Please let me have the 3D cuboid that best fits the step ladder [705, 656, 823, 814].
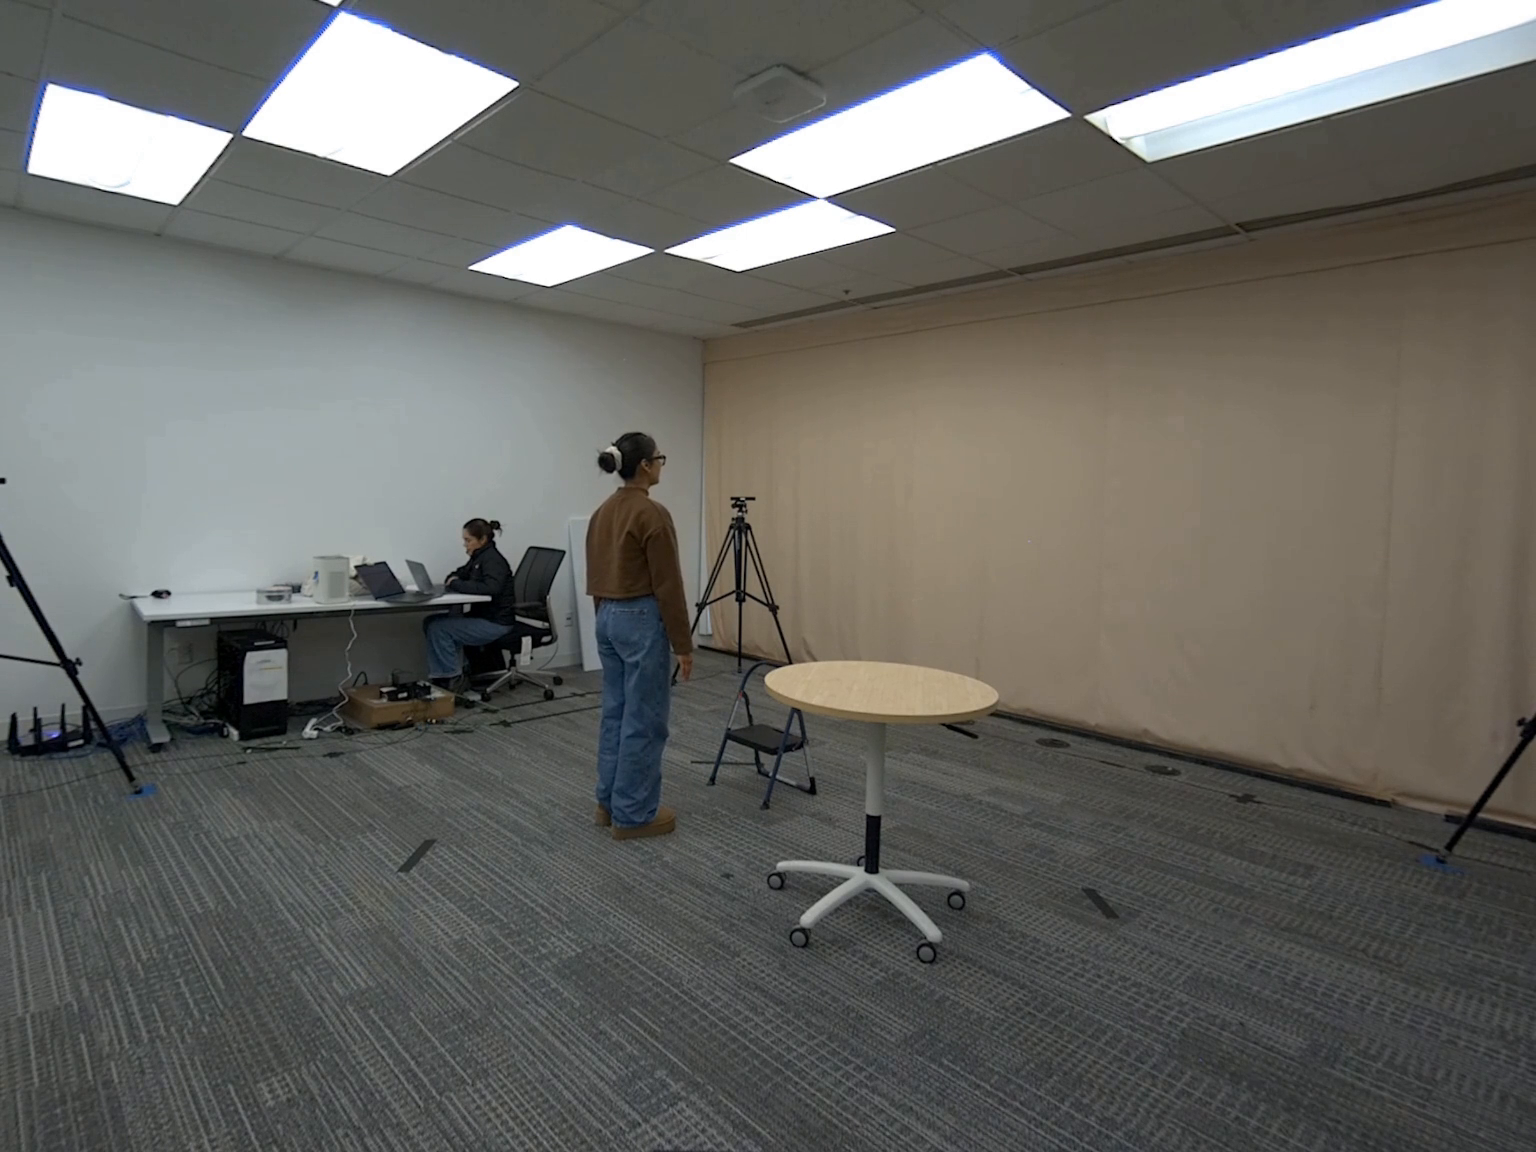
[{"bbox_3d":[-0.028,0.731,4.042,0.341,0.605,0.441,-1,4,-41],"label":"step ladder"}]
